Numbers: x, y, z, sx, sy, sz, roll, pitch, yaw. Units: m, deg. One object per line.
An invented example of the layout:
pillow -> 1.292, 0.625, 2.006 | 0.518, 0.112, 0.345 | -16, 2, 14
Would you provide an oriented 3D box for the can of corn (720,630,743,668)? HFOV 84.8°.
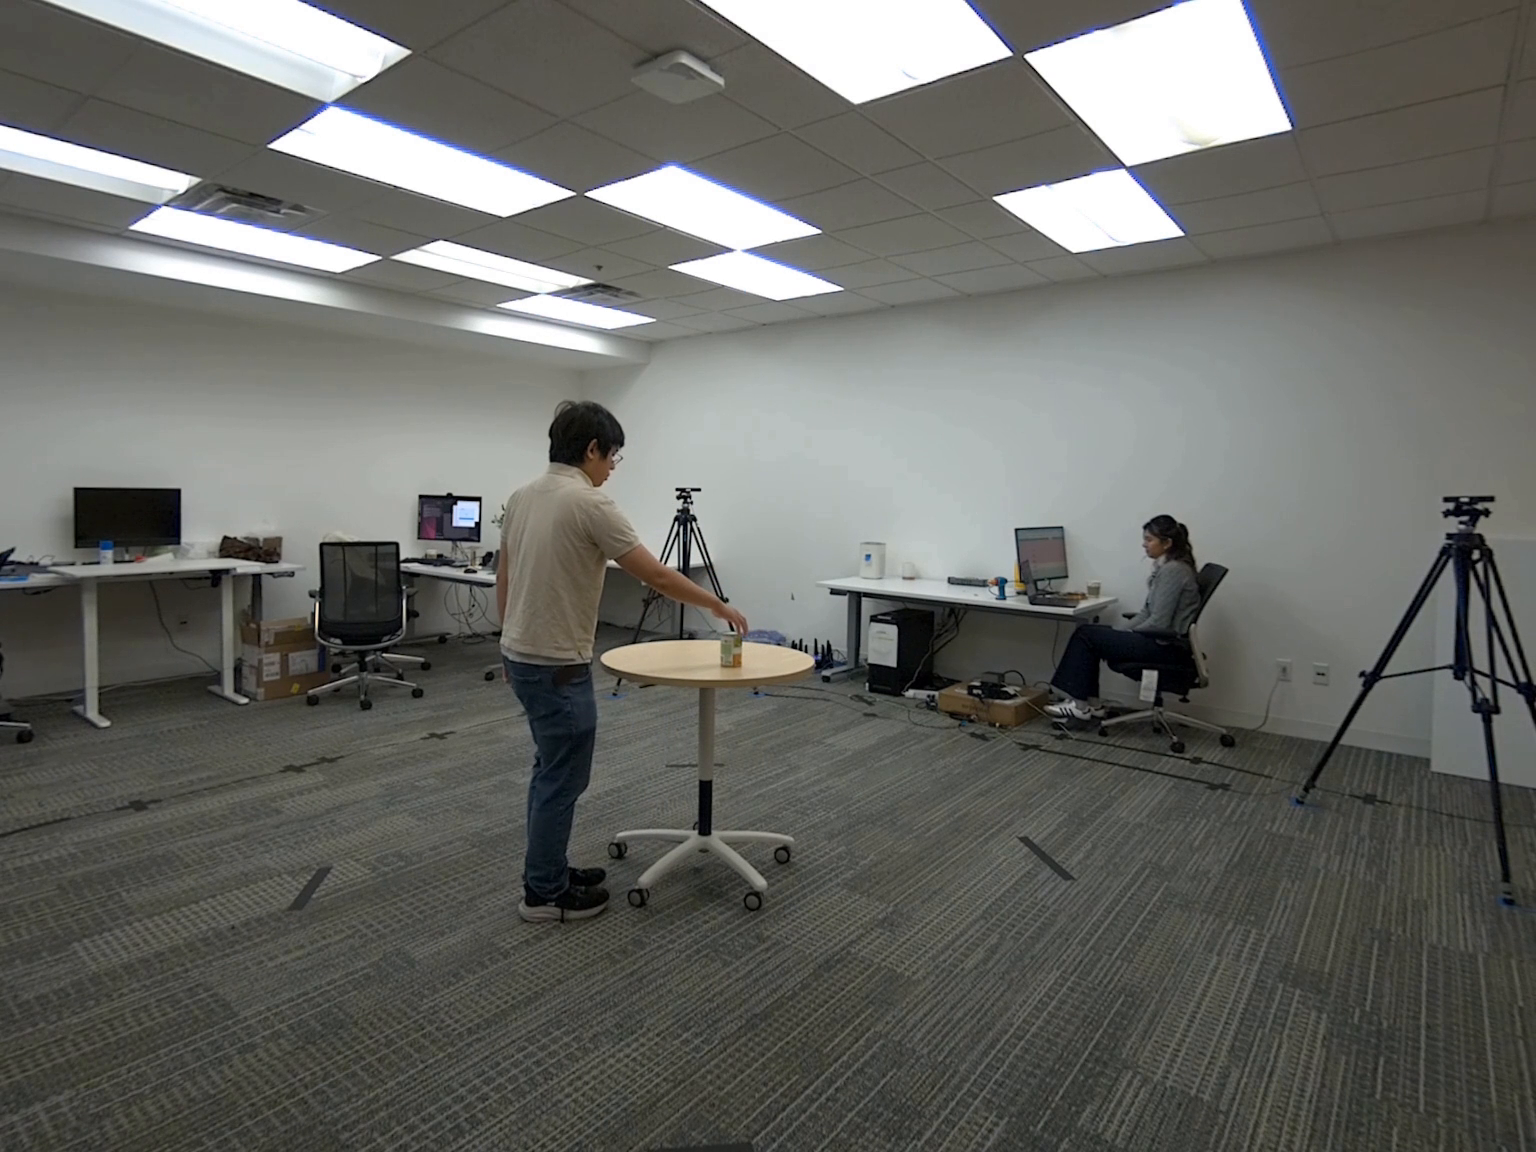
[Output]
can of corn -> -0.139, 0.251, 2.909 | 0.074, 0.110, 0.074 | 1, 4, -2
